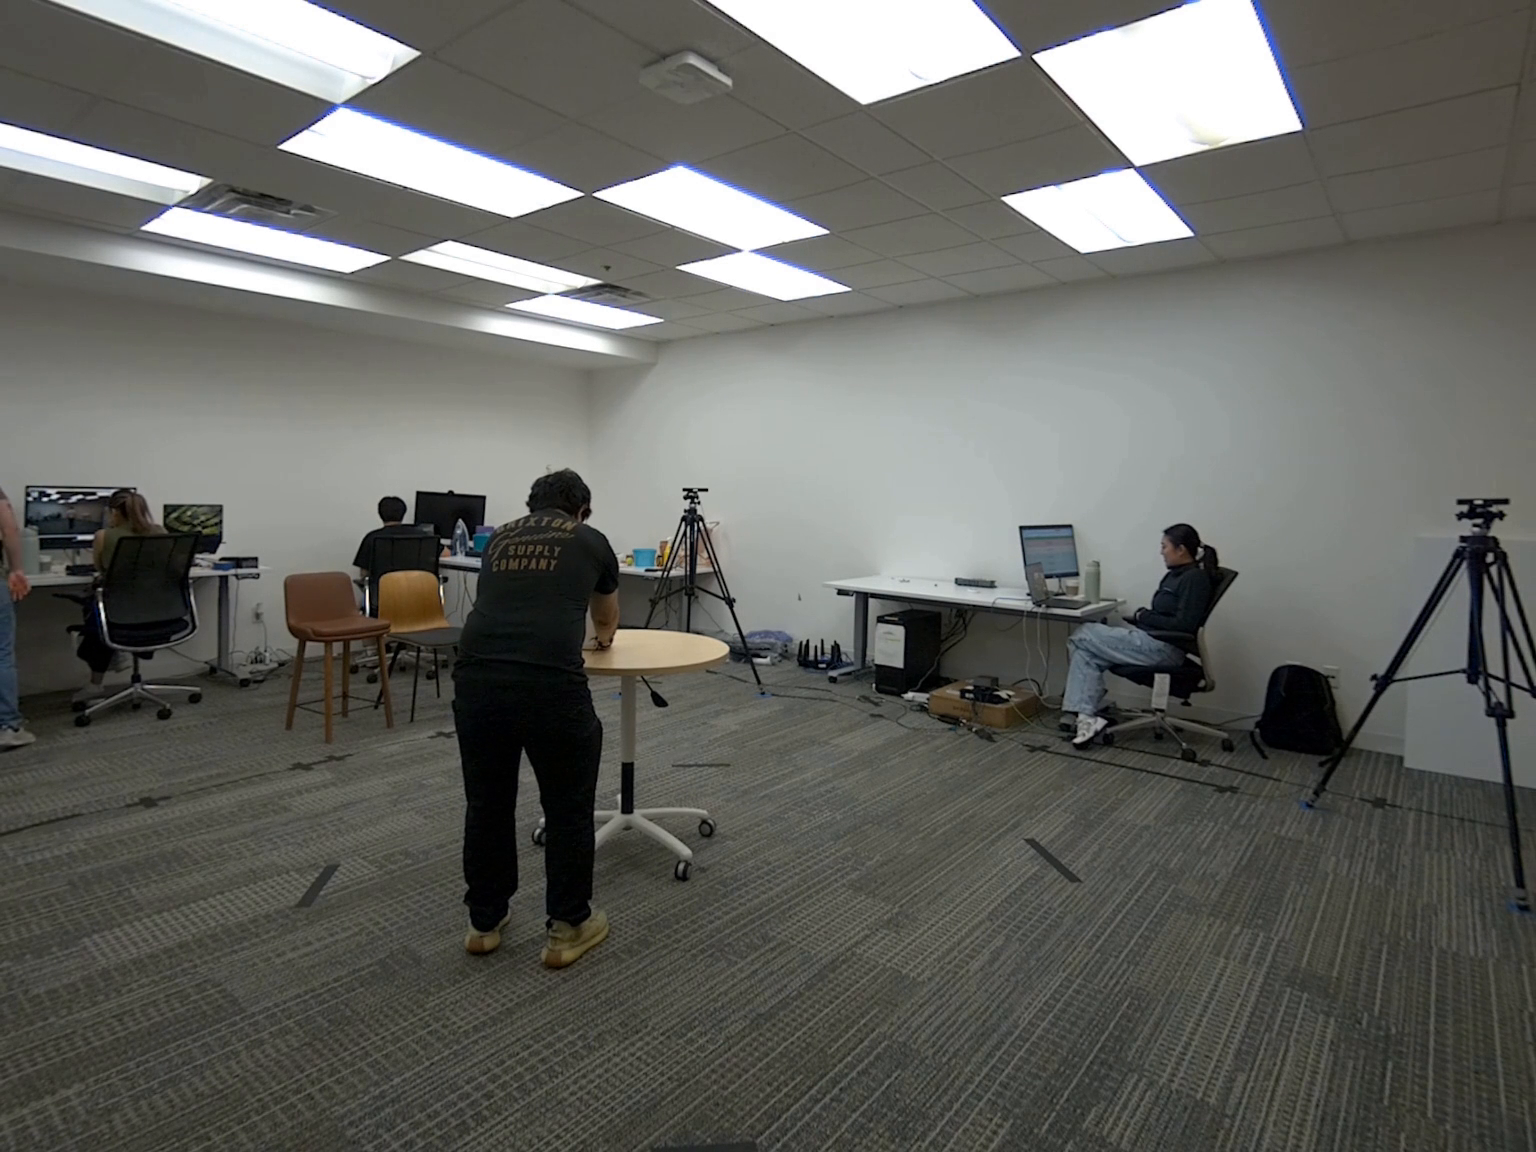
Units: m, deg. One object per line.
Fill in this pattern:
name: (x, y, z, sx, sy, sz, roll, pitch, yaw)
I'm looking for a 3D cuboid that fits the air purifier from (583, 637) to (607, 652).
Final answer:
air purifier: (-0.691, 0.132, 3.216, 0.172, 0.264, 0.171, 1, 3, 3)
